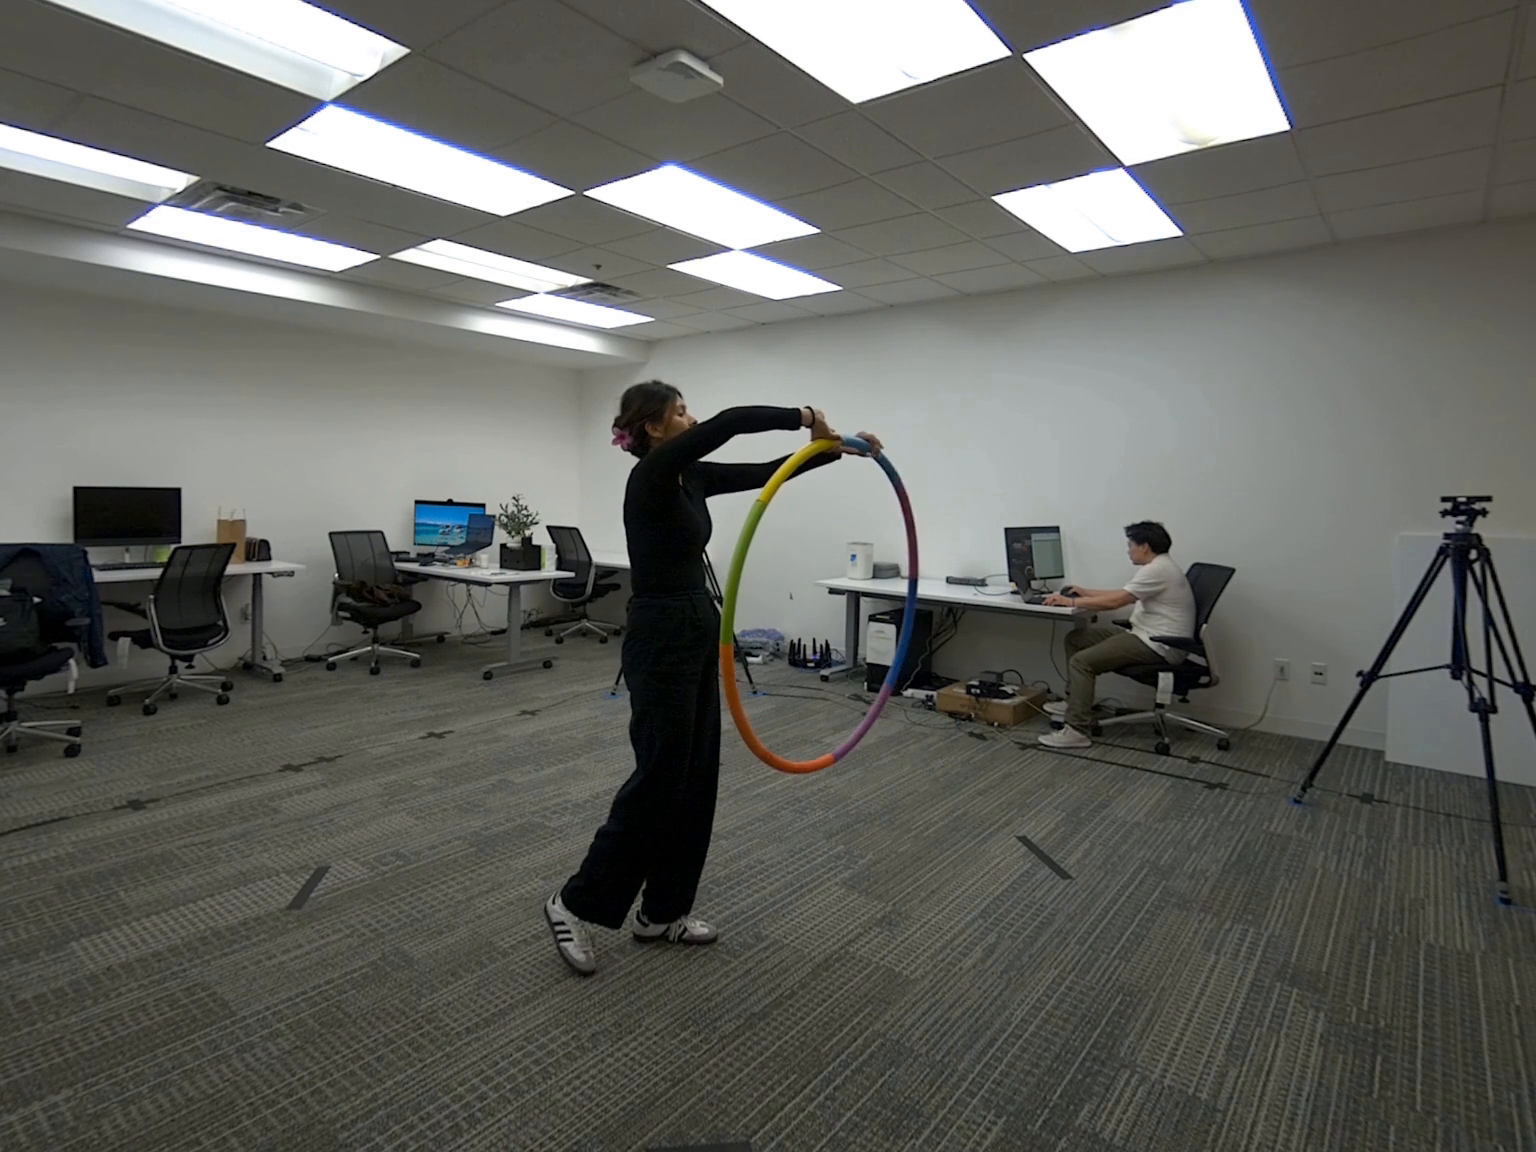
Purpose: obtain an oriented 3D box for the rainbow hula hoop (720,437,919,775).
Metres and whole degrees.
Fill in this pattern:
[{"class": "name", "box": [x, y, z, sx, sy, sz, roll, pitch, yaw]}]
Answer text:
[{"class": "rainbow hula hoop", "box": [0.180, 0.080, 2.488, 0.053, 0.980, 0.956, 9, 8, 39]}]
